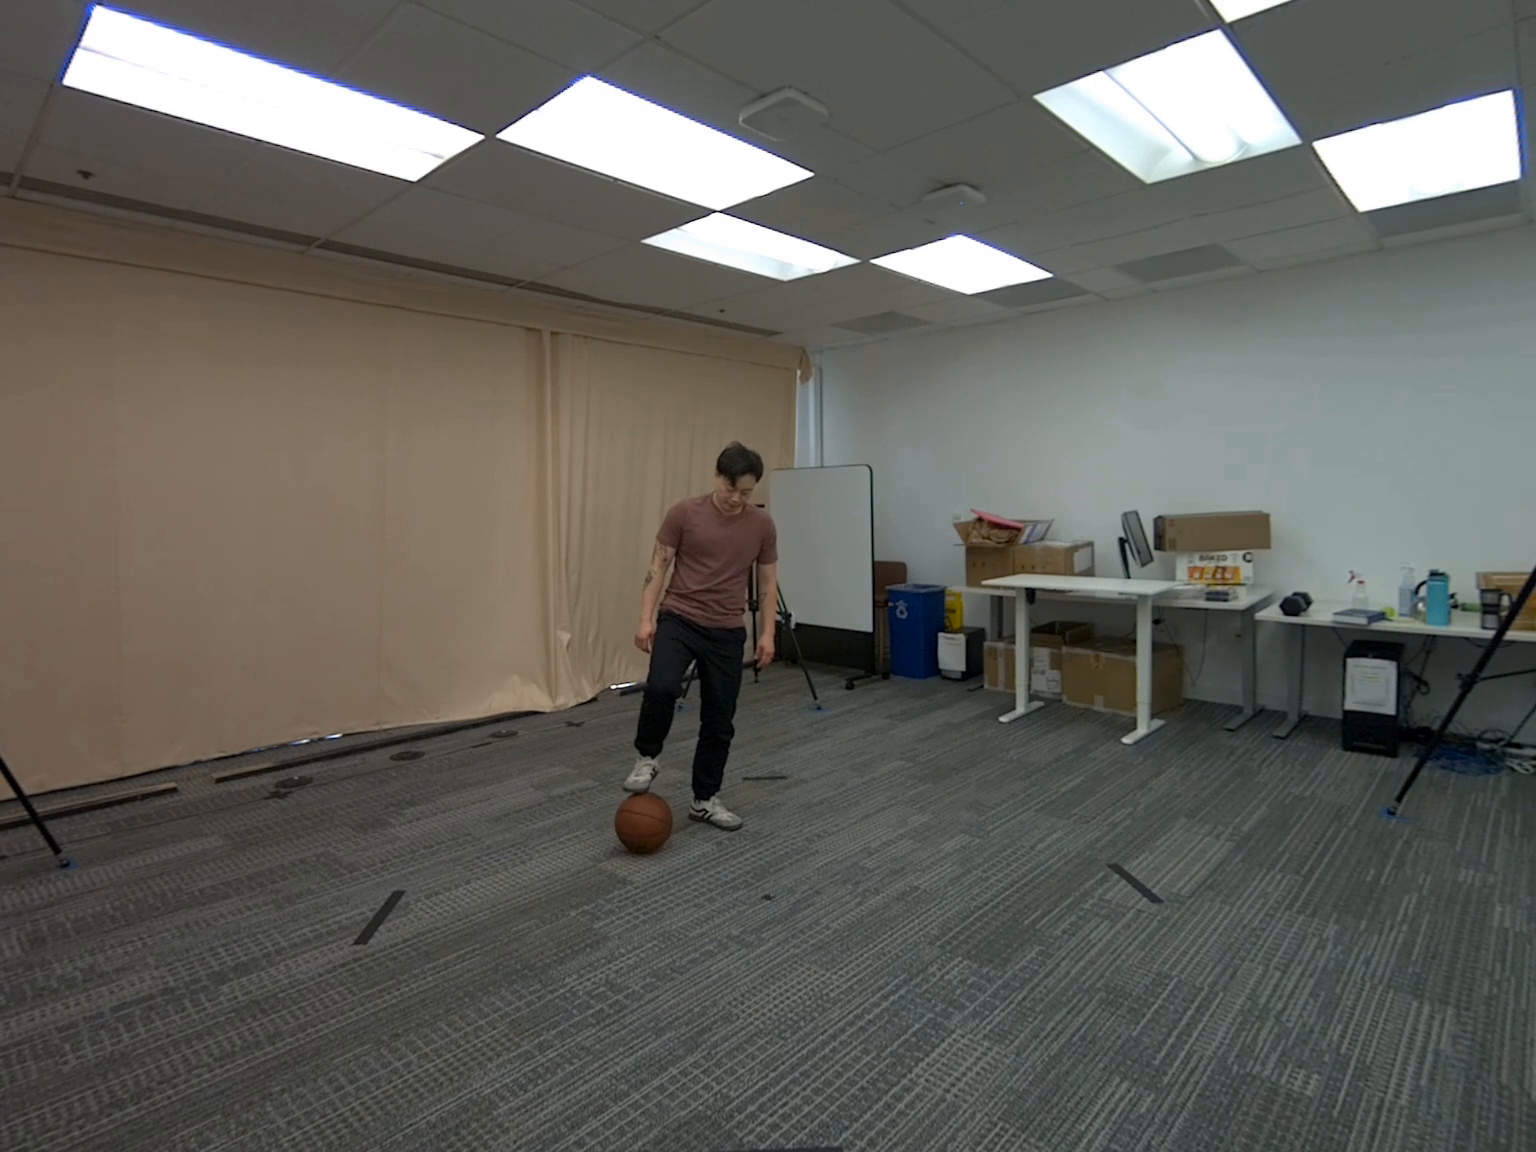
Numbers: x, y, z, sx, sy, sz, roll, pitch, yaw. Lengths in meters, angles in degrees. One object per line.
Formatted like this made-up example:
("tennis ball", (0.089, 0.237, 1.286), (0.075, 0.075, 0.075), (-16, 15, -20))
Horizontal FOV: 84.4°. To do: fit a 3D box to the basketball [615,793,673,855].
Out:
("basketball", (-0.501, 0.997, 3.404), (0.236, 0.235, 0.237), (-1, 4, -2))
